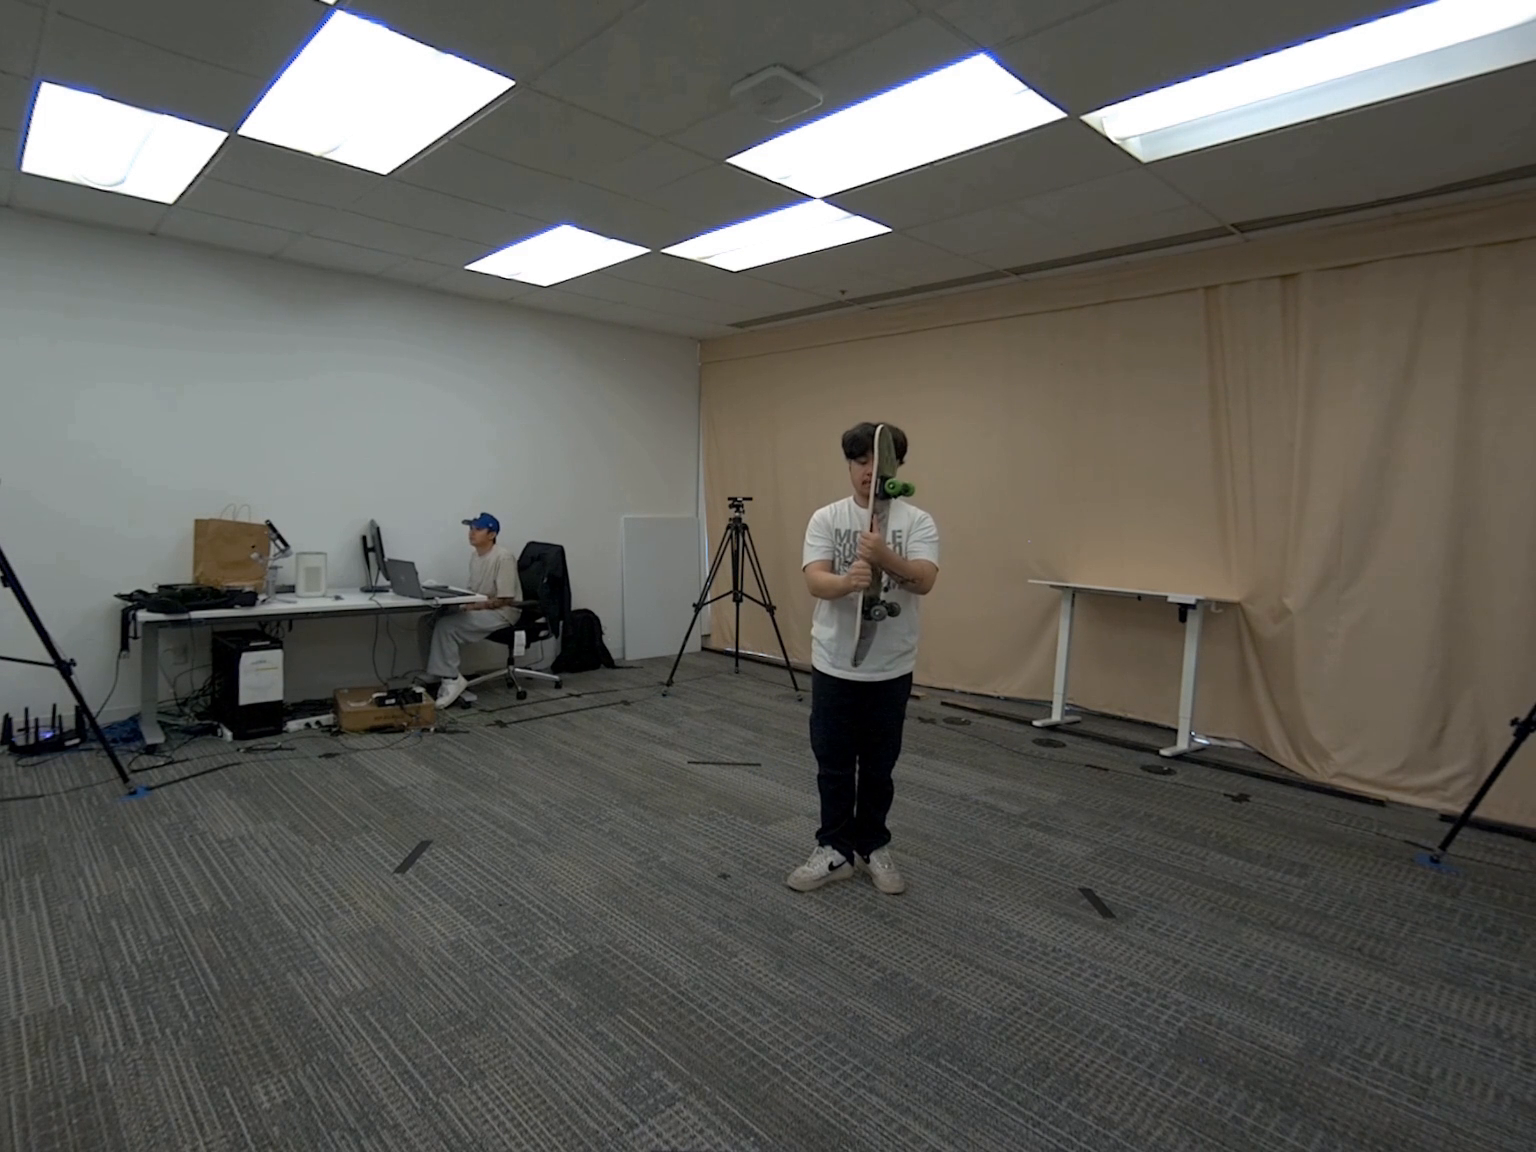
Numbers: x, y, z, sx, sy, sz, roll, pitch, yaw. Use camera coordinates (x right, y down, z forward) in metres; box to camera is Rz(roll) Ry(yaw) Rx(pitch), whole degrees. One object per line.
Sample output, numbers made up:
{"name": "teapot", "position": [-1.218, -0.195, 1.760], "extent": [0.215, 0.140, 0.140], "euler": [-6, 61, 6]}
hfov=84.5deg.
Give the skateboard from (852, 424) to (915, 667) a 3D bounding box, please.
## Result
{"name": "skateboard", "position": [0.363, -0.091, 2.706], "extent": [0.113, 0.783, 0.190], "euler": [7, 4, 26]}
